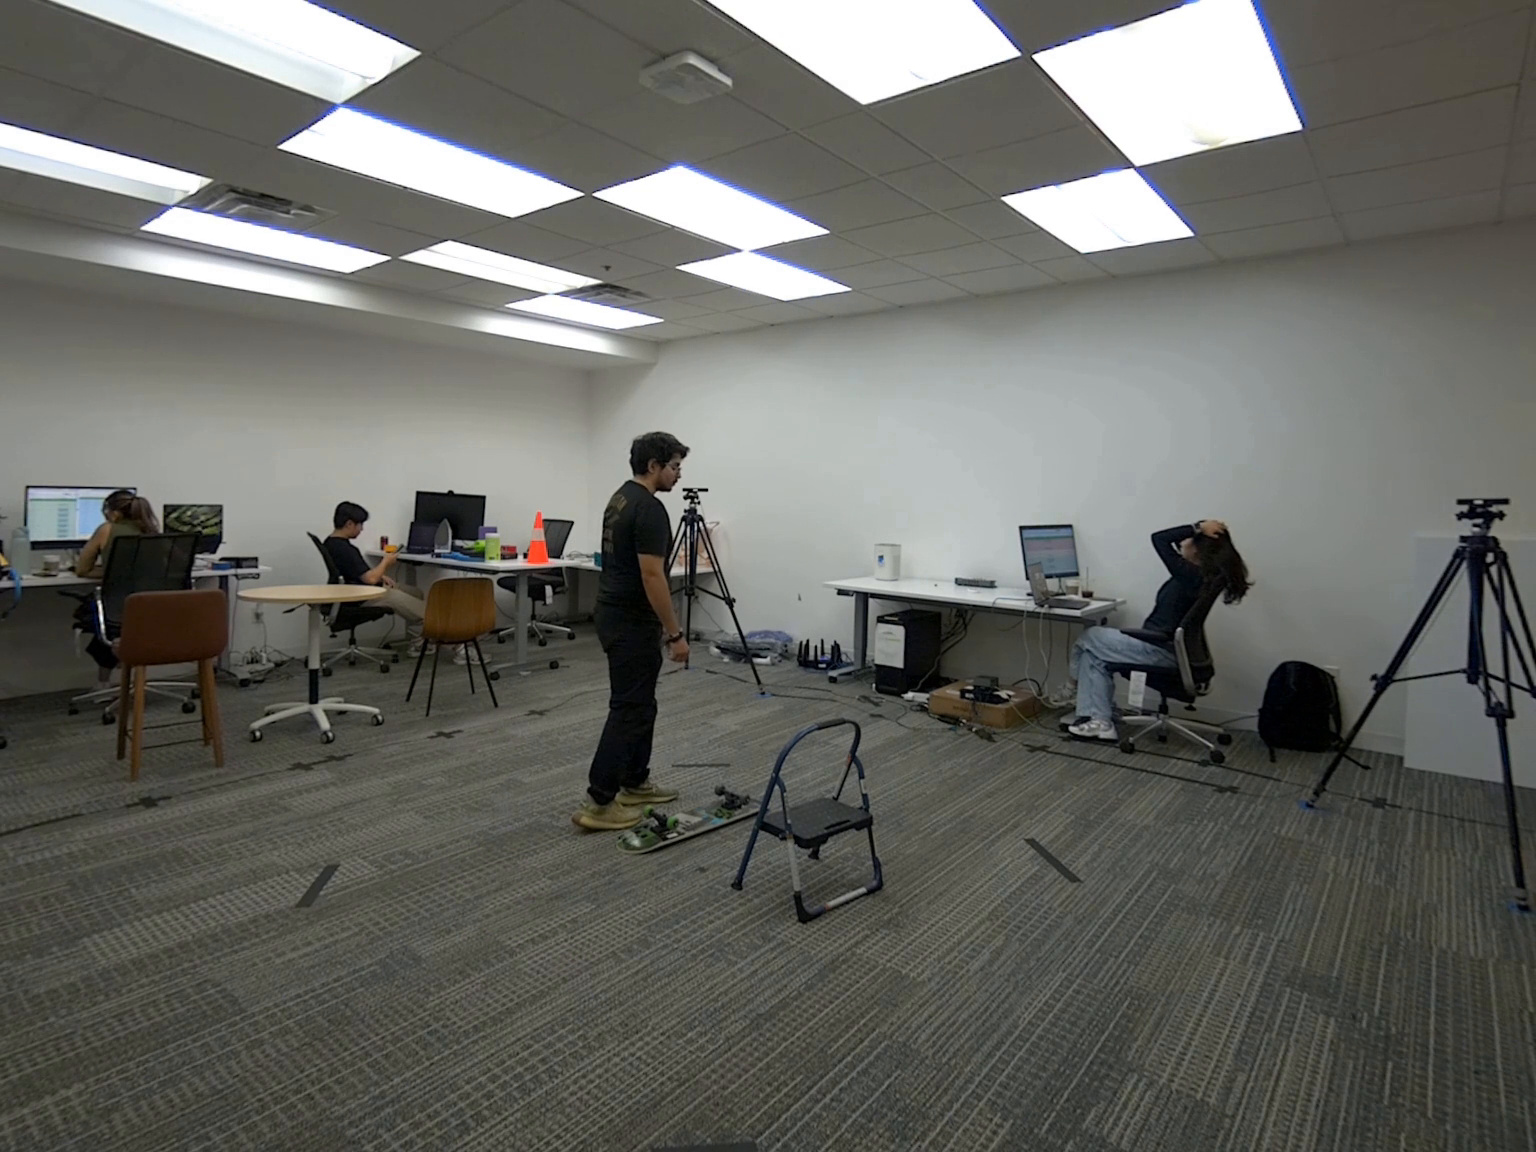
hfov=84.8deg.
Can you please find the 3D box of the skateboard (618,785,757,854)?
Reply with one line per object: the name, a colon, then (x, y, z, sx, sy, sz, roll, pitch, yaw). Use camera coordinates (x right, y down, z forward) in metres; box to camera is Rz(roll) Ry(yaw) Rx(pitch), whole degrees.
skateboard: (-0.297, 0.983, 3.518, 0.762, 0.110, 0.200, -5, 7, -45)
